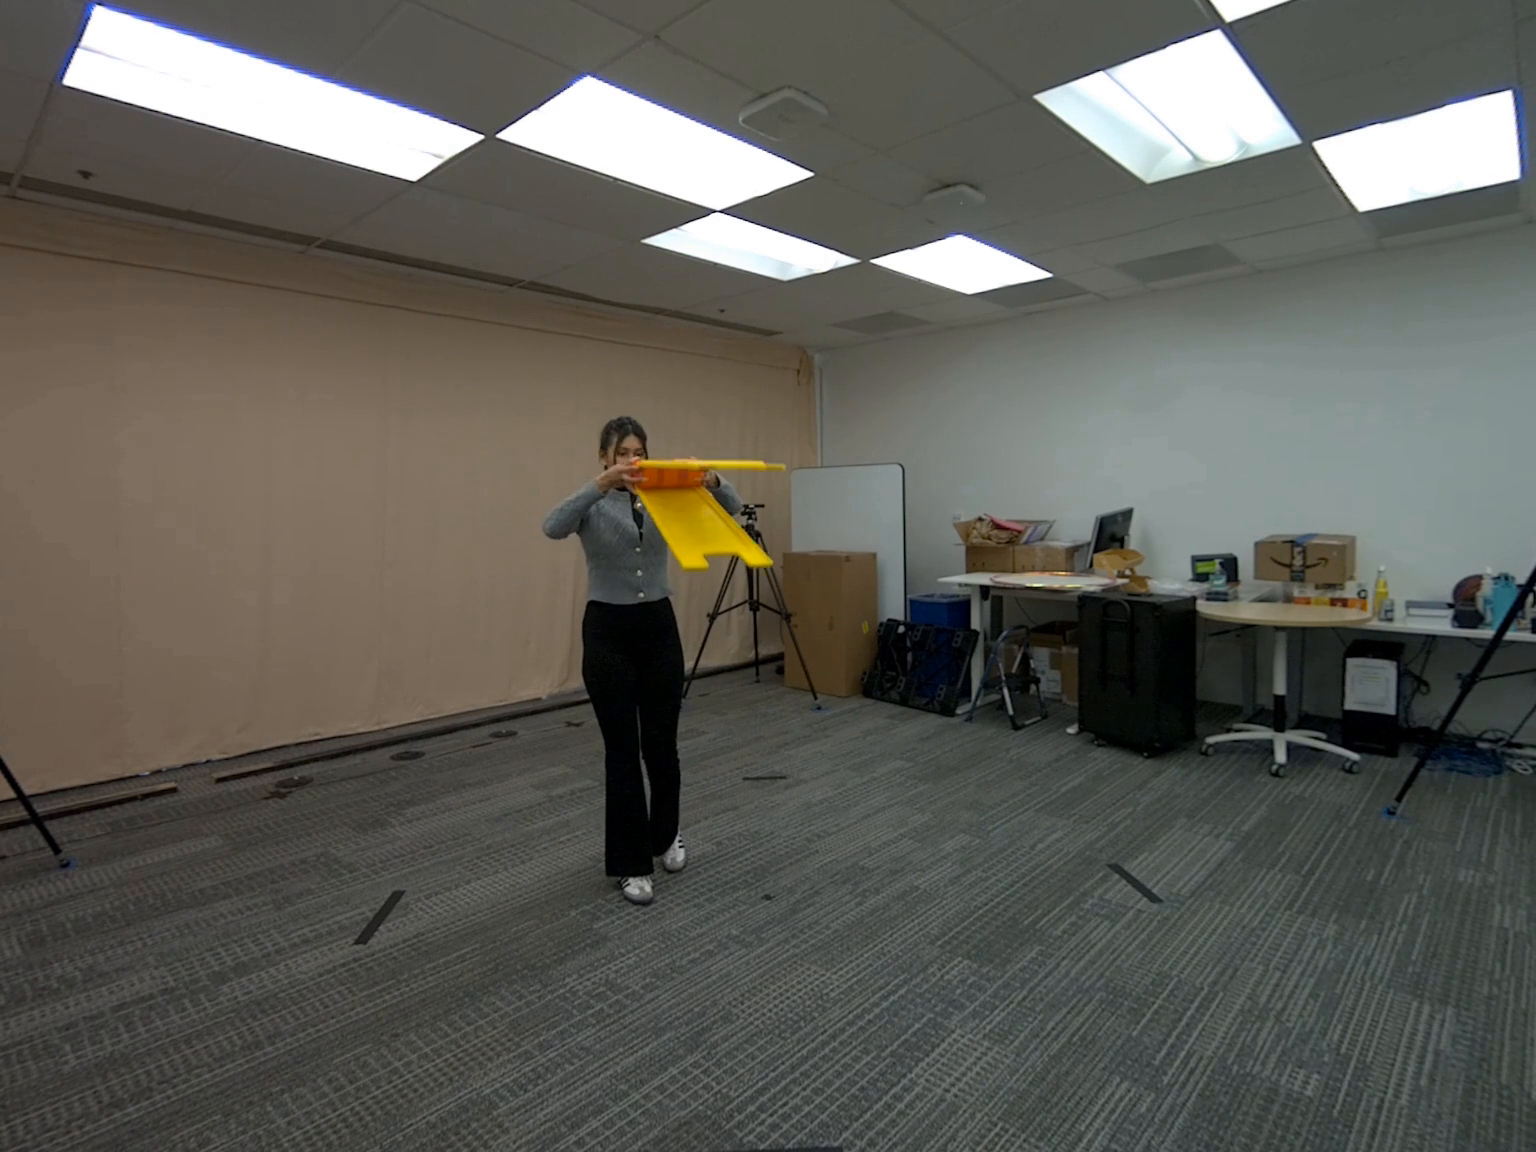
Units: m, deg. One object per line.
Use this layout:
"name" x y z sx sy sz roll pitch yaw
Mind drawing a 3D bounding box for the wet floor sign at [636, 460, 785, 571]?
"wet floor sign" -0.232 -0.262 2.560 0.275 0.287 0.667 -1 20 -25
